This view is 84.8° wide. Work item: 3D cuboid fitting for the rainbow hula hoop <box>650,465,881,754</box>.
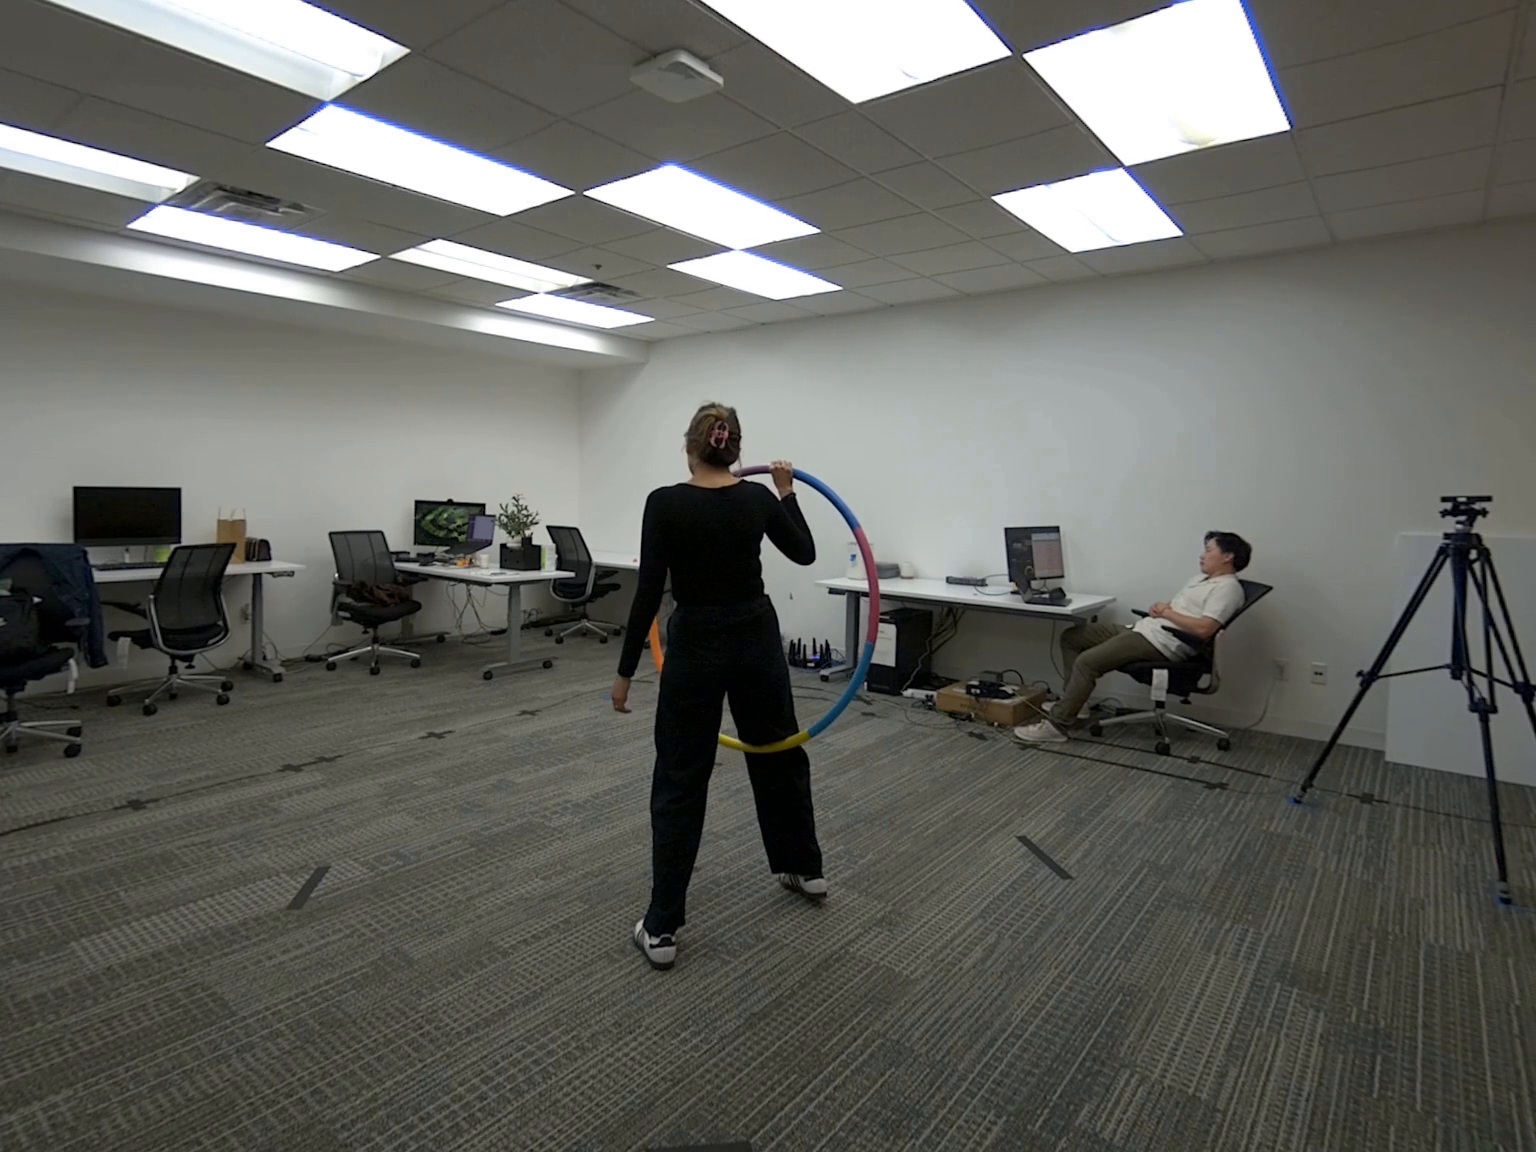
[{"bbox_3d":[-0.074,0.097,2.958,1.011,0.982,0.034,4,-5,37],"label":"rainbow hula hoop"}]
